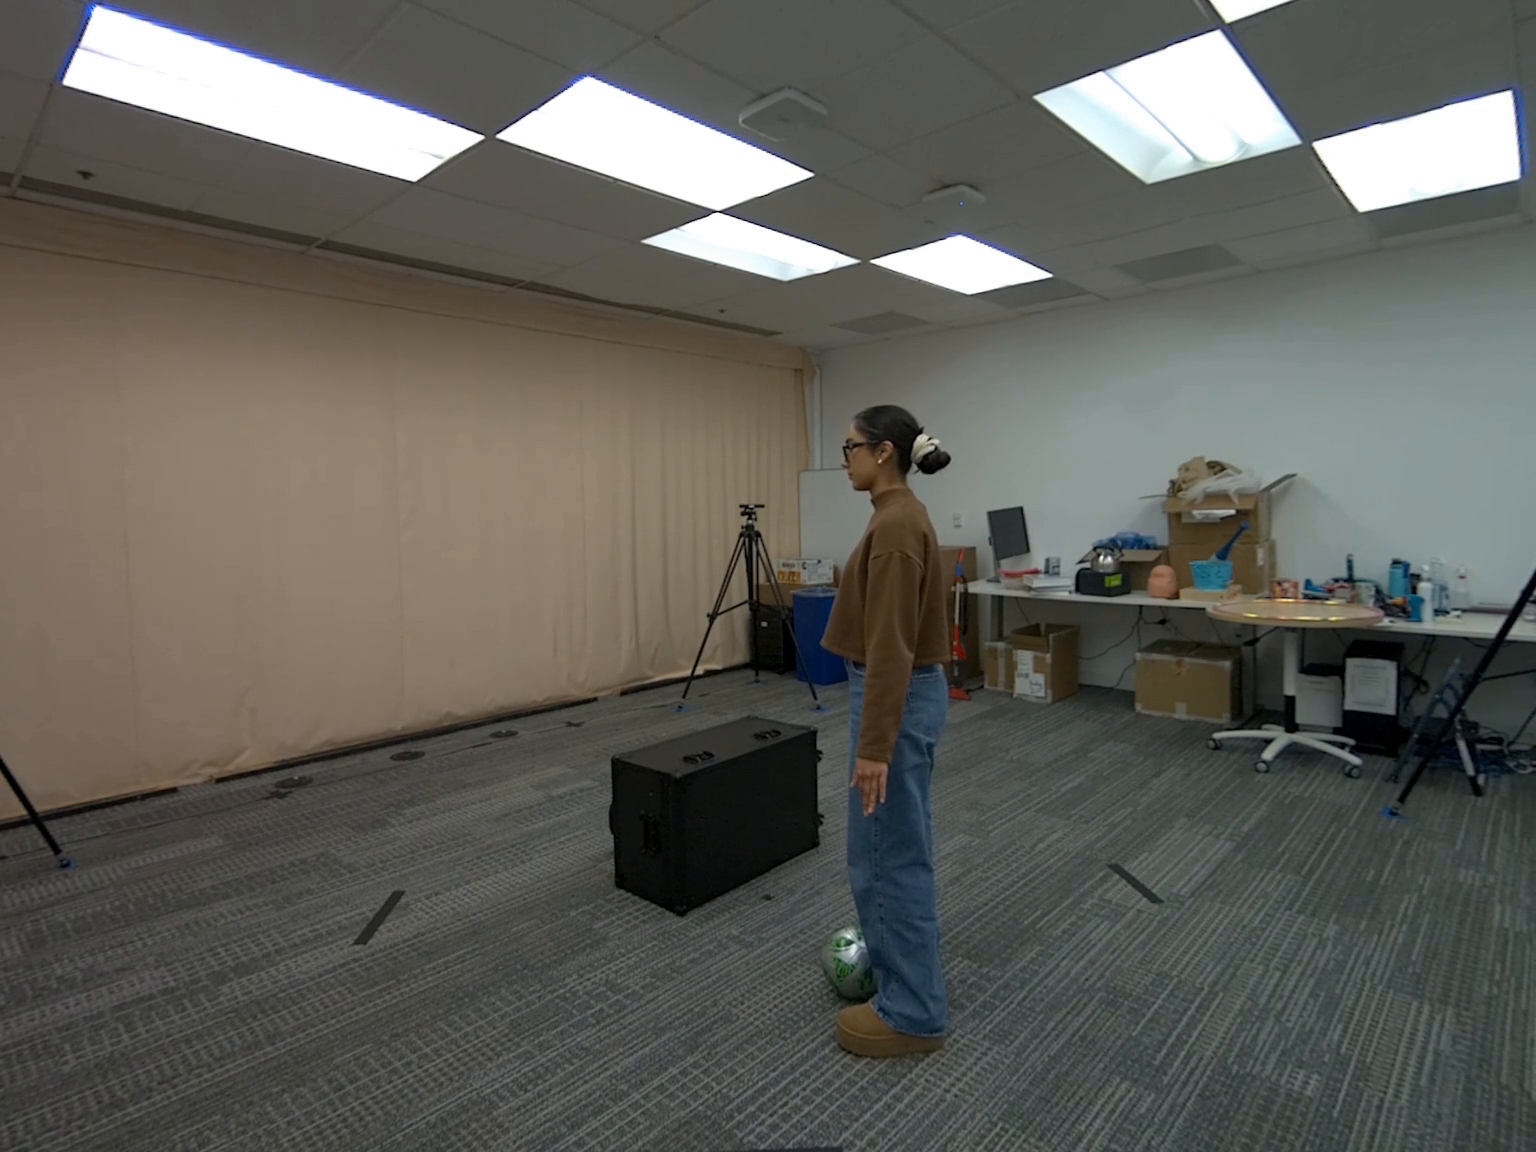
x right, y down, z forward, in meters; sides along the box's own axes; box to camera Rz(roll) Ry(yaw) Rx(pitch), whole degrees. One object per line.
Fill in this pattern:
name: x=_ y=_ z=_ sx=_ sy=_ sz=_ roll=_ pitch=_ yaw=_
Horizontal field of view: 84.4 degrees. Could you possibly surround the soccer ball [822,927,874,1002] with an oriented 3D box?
soccer ball: x=0.245 y=1.092 z=2.401 sx=0.187 sy=0.187 sz=0.188 roll=-1 pitch=4 yaw=-2
